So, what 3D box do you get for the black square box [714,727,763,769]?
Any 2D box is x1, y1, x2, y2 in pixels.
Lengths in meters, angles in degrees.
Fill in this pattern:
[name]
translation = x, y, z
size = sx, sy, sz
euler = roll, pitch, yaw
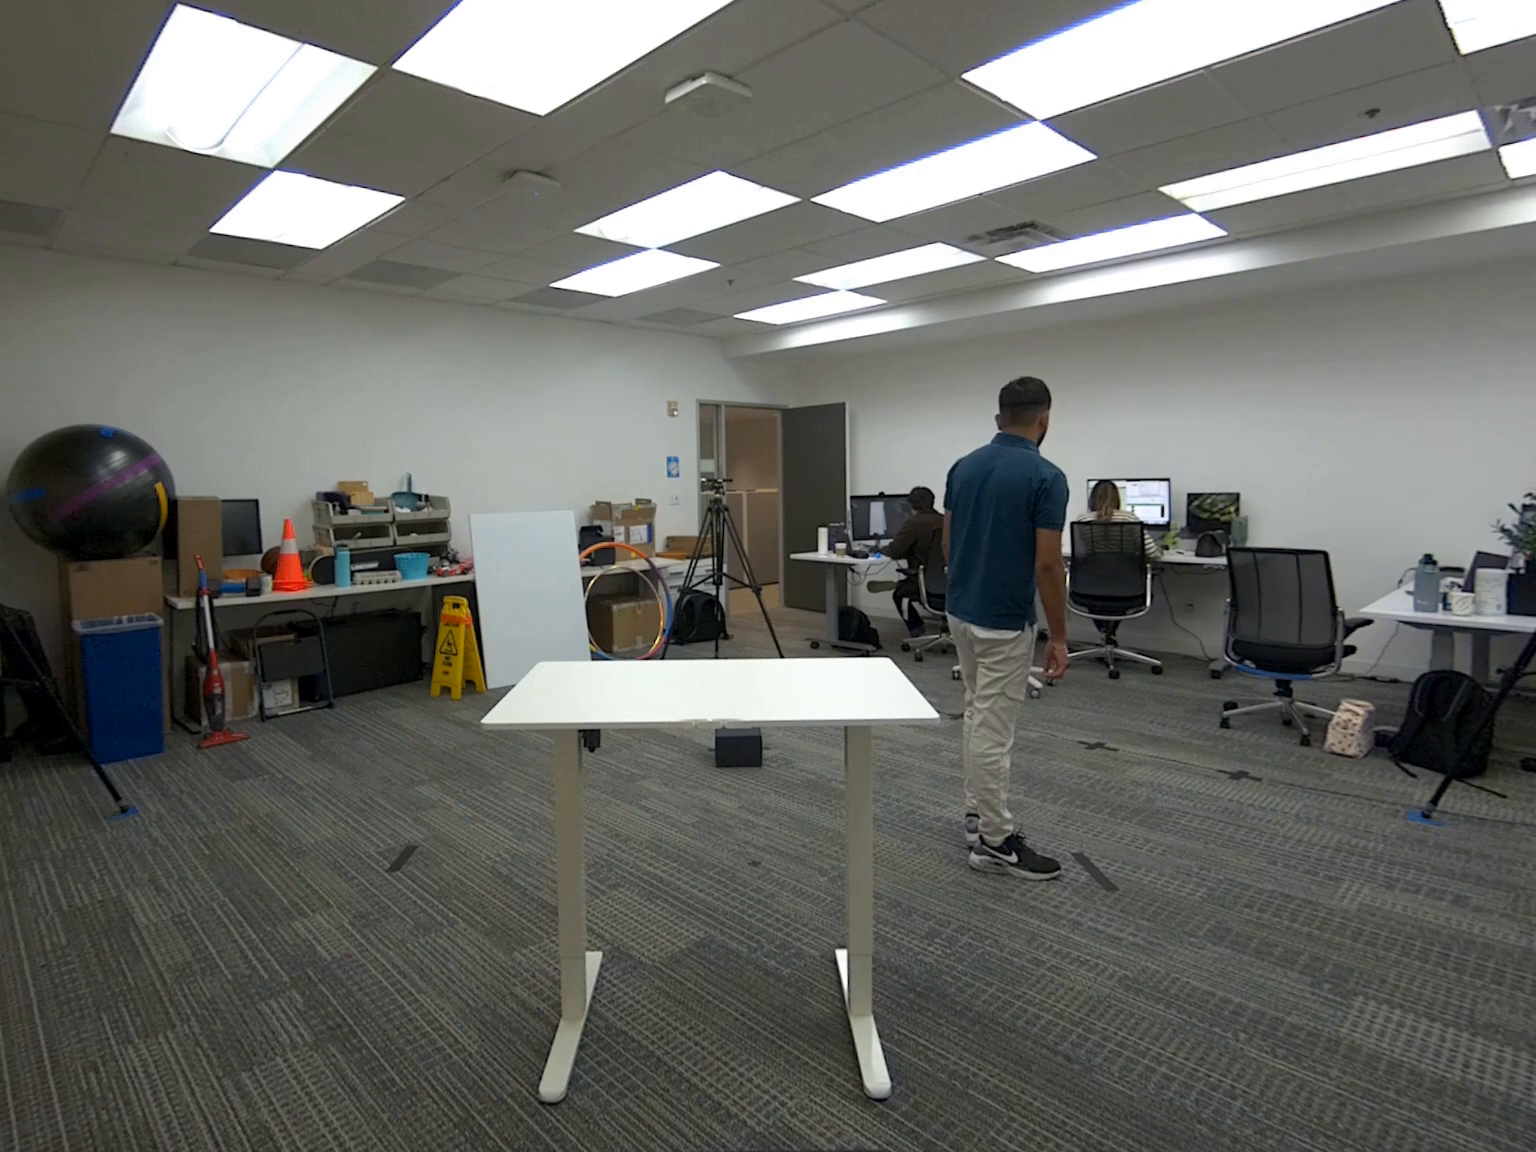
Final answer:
[black square box]
translation = -0.149, 0.835, 4.258
size = 0.227, 0.155, 0.218
euler = -1, 6, -2
